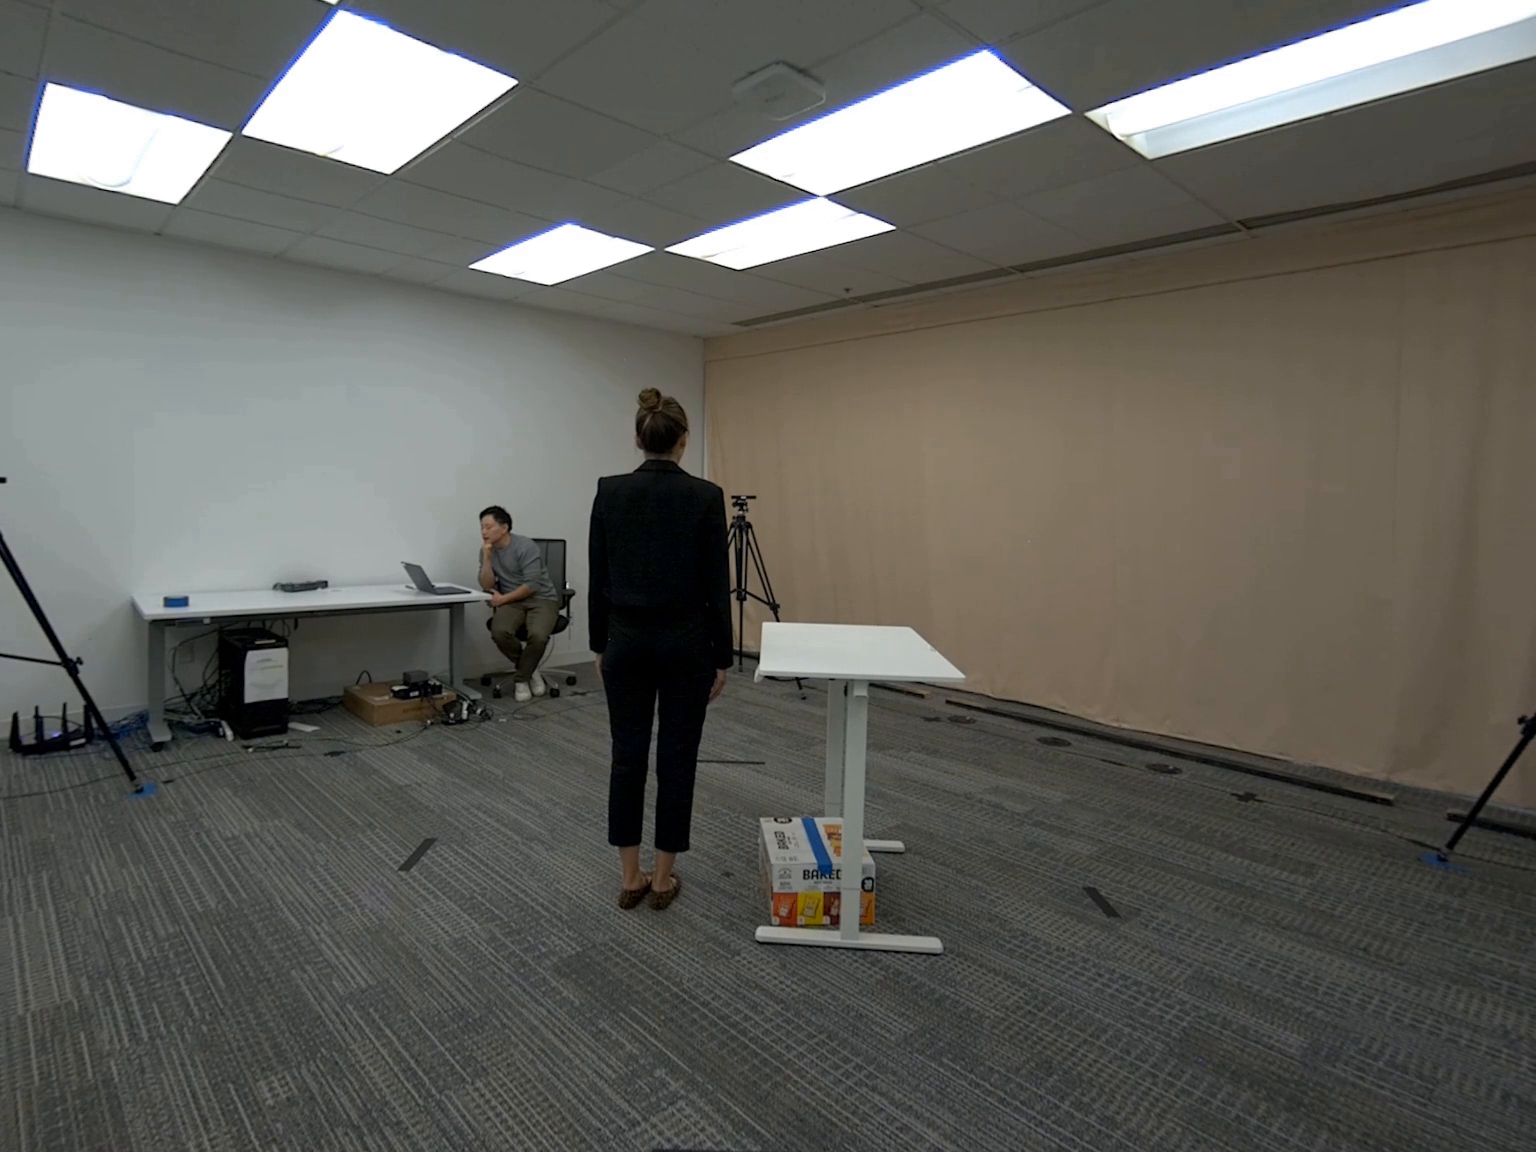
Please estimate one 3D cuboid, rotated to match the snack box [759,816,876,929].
[{"bbox_3d":[0.149,1.023,2.940,0.339,0.205,0.408,1,5,-6],"label":"snack box"}]
